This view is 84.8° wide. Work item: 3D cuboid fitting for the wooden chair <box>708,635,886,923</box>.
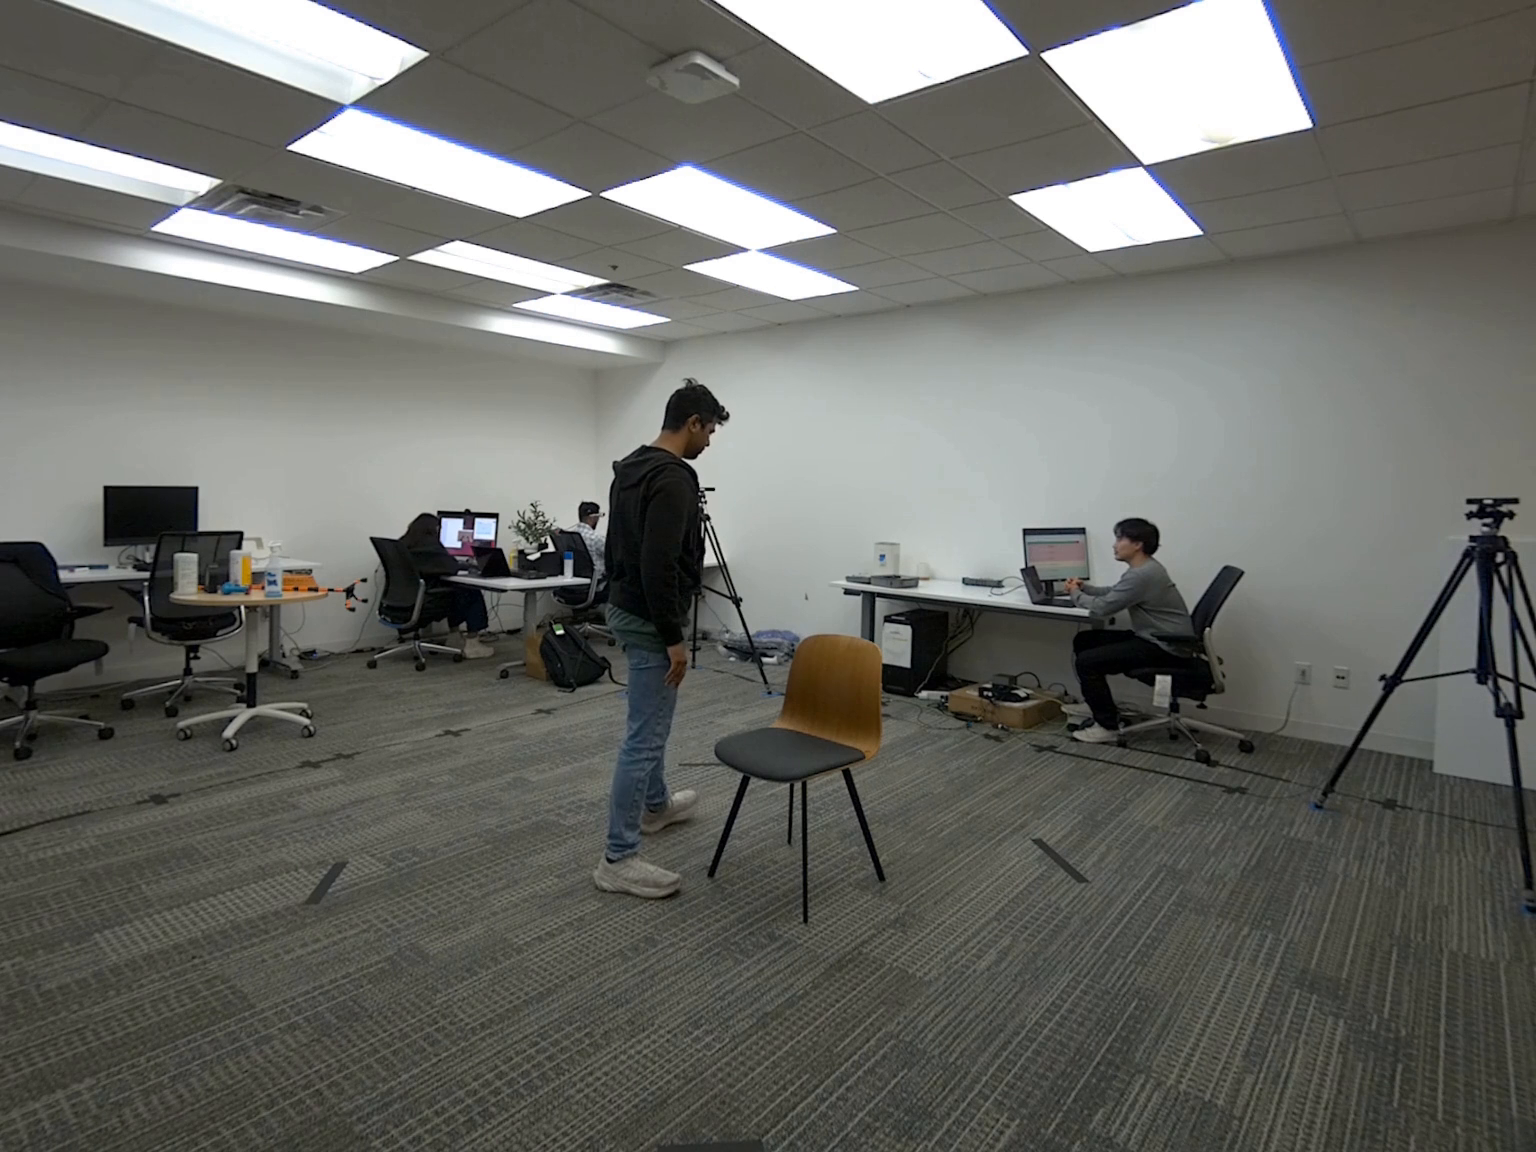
[{"bbox_3d":[0.098,0.658,3.009,0.494,0.877,0.506,5,1,42],"label":"wooden chair"}]
